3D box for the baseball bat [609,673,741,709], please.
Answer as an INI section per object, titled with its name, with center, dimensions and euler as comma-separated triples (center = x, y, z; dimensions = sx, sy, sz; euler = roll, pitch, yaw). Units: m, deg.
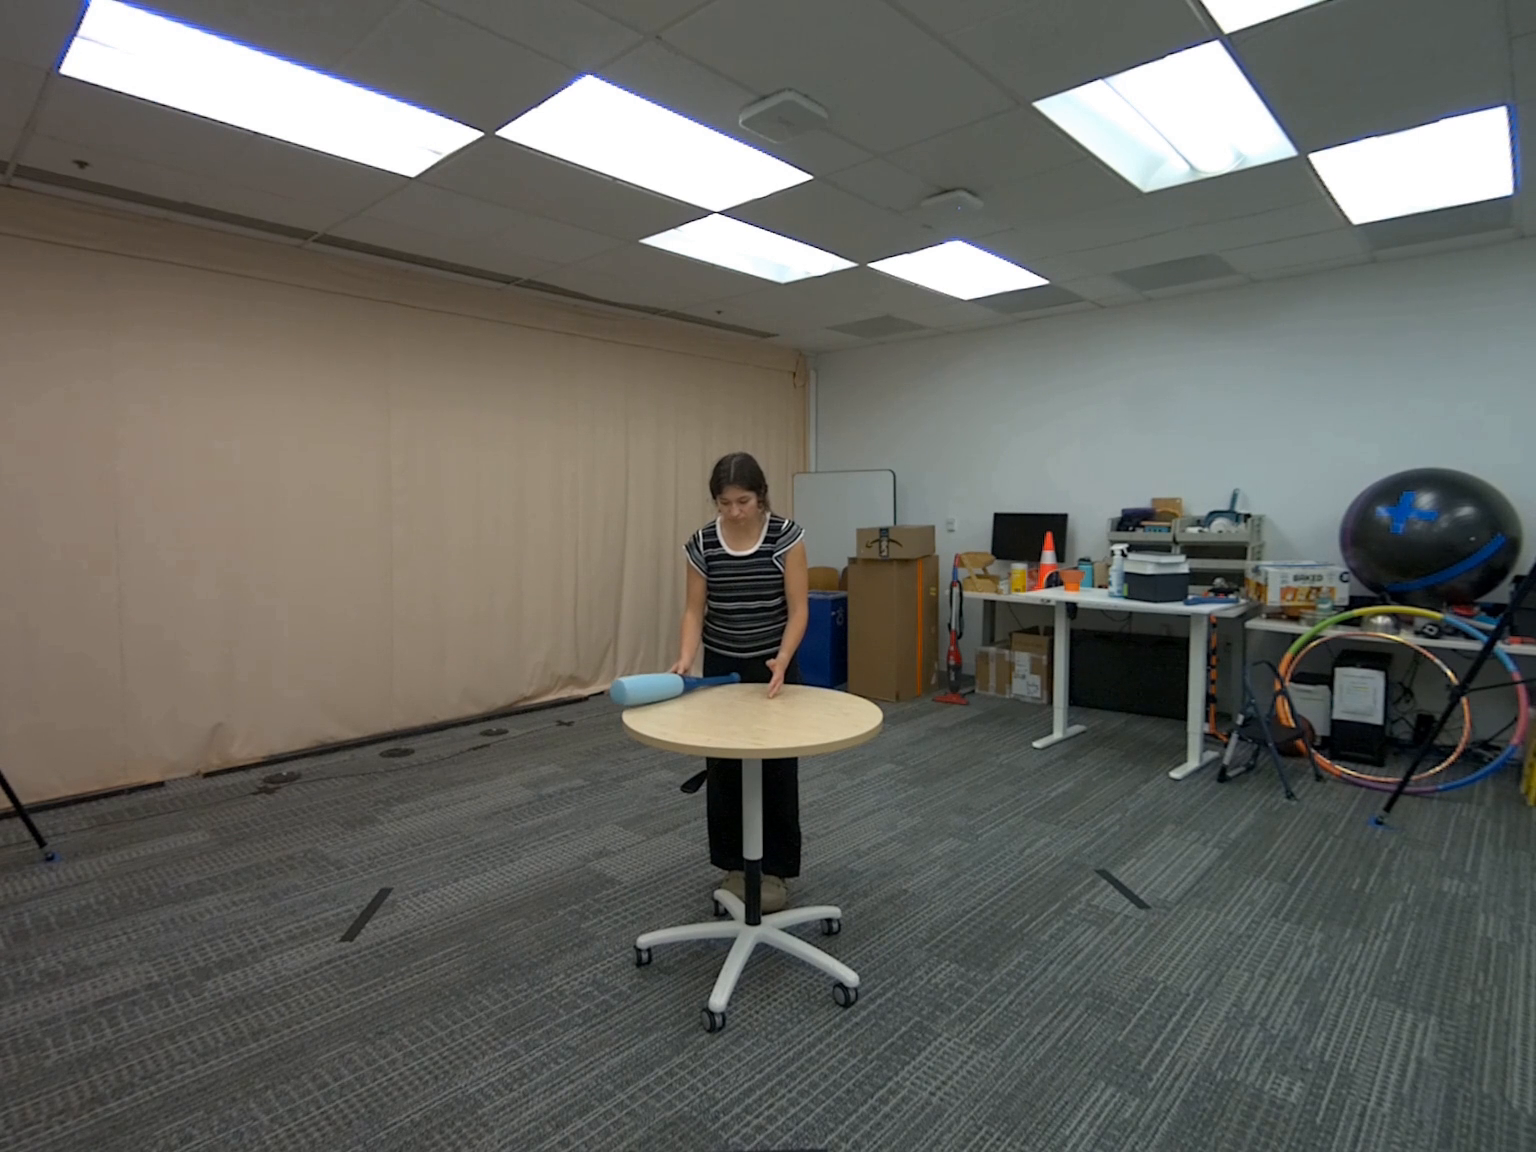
[baseball bat]
center = -0.284, 0.355, 2.711
dimensions = 0.092, 0.089, 0.525
euler = 3, 1, 39
